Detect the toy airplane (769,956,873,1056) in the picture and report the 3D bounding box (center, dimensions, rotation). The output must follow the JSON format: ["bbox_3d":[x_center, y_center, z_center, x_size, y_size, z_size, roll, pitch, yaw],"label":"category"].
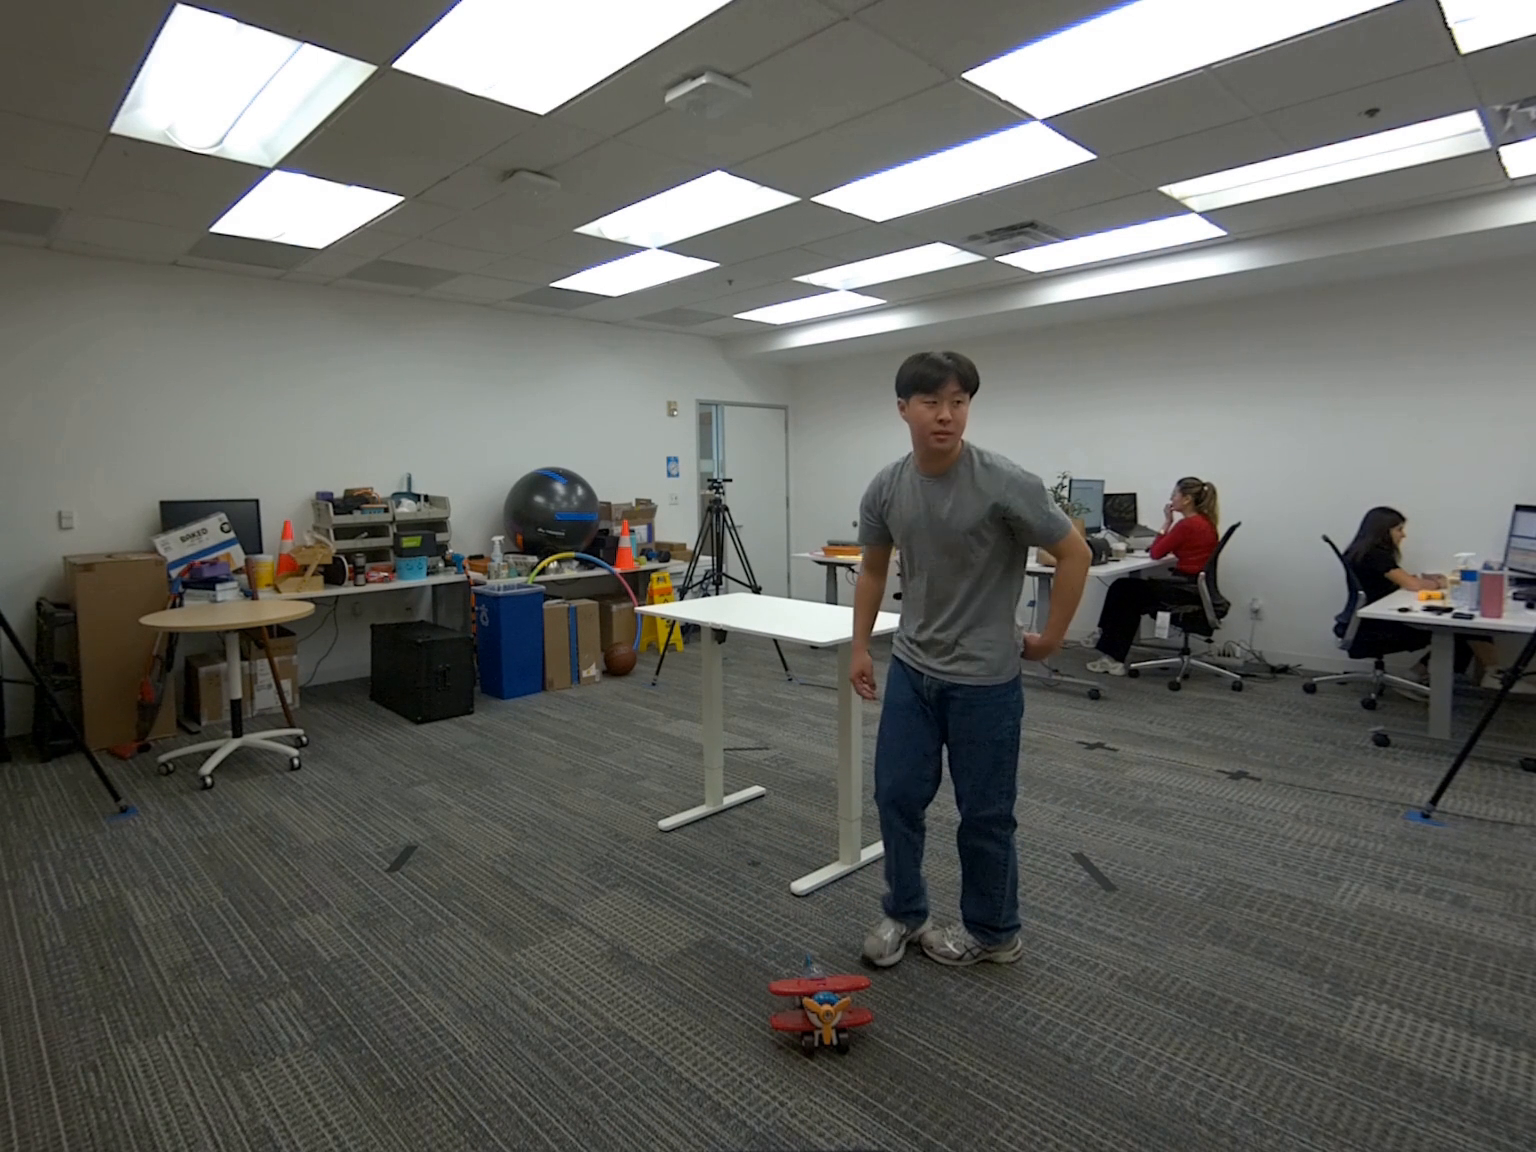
[{"bbox_3d":[0.116,1.076,2.158,0.245,0.155,0.267,-4,8,-34],"label":"toy airplane"}]
